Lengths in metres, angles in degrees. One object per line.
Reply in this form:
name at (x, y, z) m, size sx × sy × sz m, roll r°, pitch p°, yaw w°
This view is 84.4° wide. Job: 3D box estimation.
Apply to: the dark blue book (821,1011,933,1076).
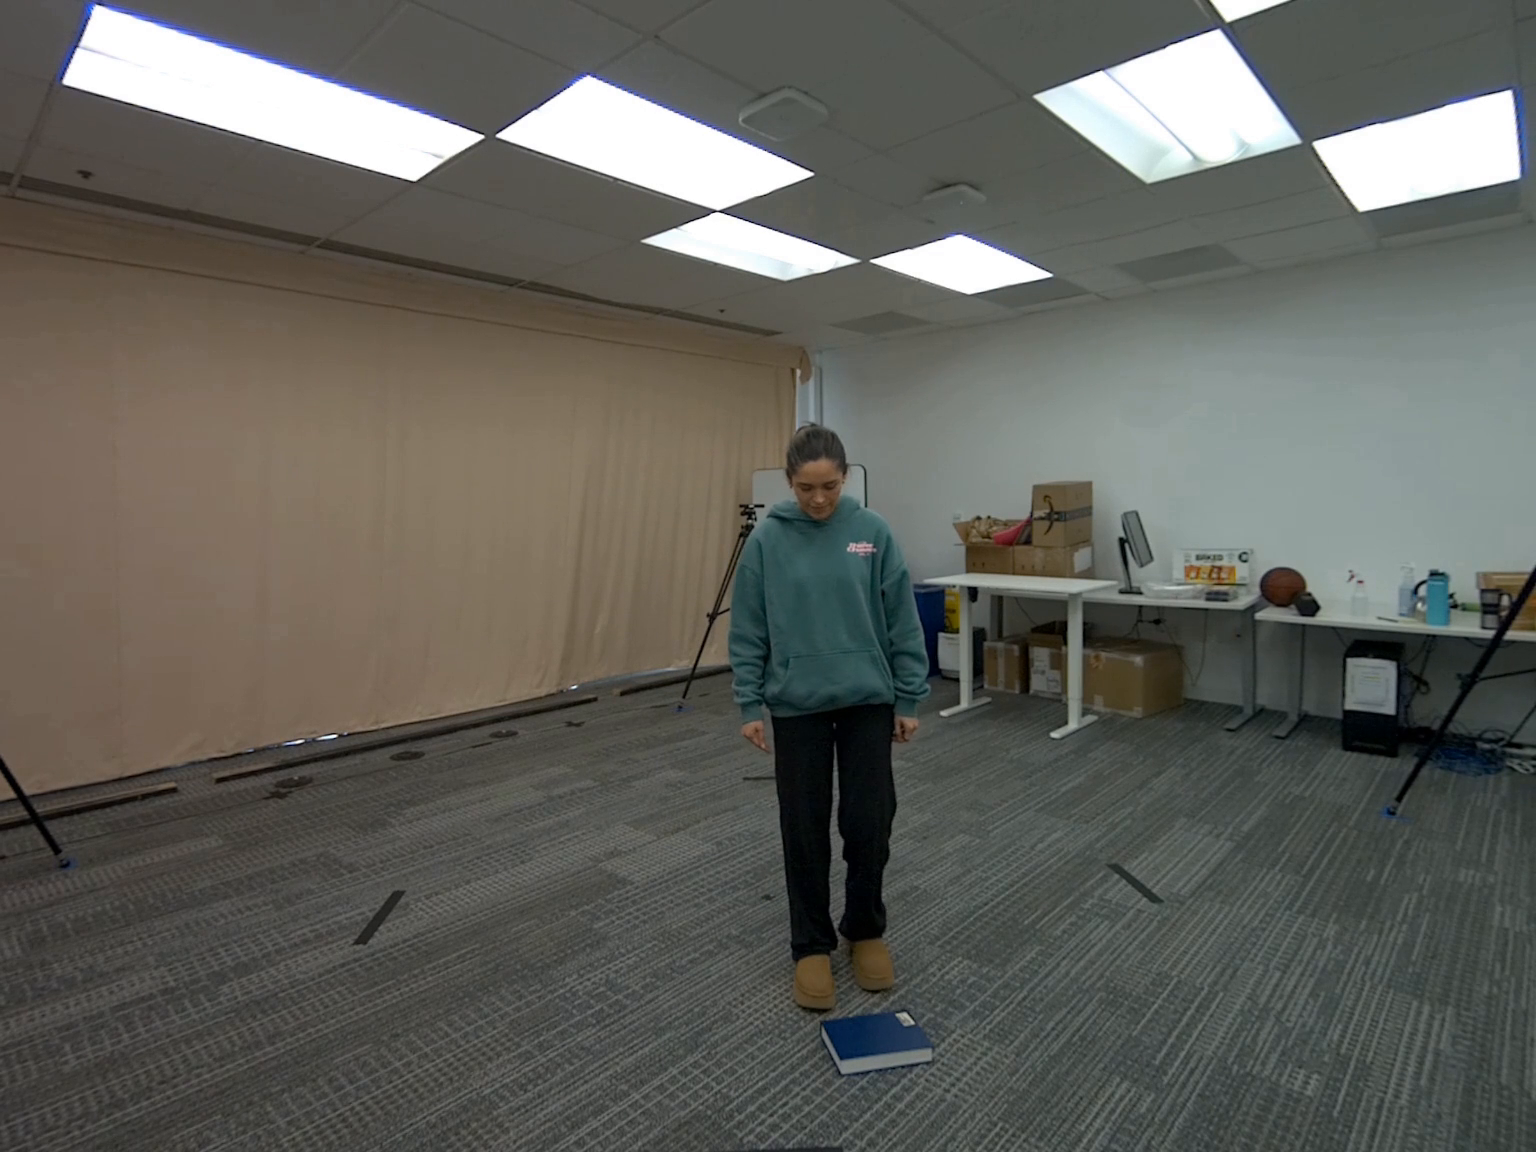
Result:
dark blue book at (0.278, 1.176, 2.149) m, size 0.242 × 0.045 × 0.166 m, roll -2°, pitch 5°, yaw -12°
